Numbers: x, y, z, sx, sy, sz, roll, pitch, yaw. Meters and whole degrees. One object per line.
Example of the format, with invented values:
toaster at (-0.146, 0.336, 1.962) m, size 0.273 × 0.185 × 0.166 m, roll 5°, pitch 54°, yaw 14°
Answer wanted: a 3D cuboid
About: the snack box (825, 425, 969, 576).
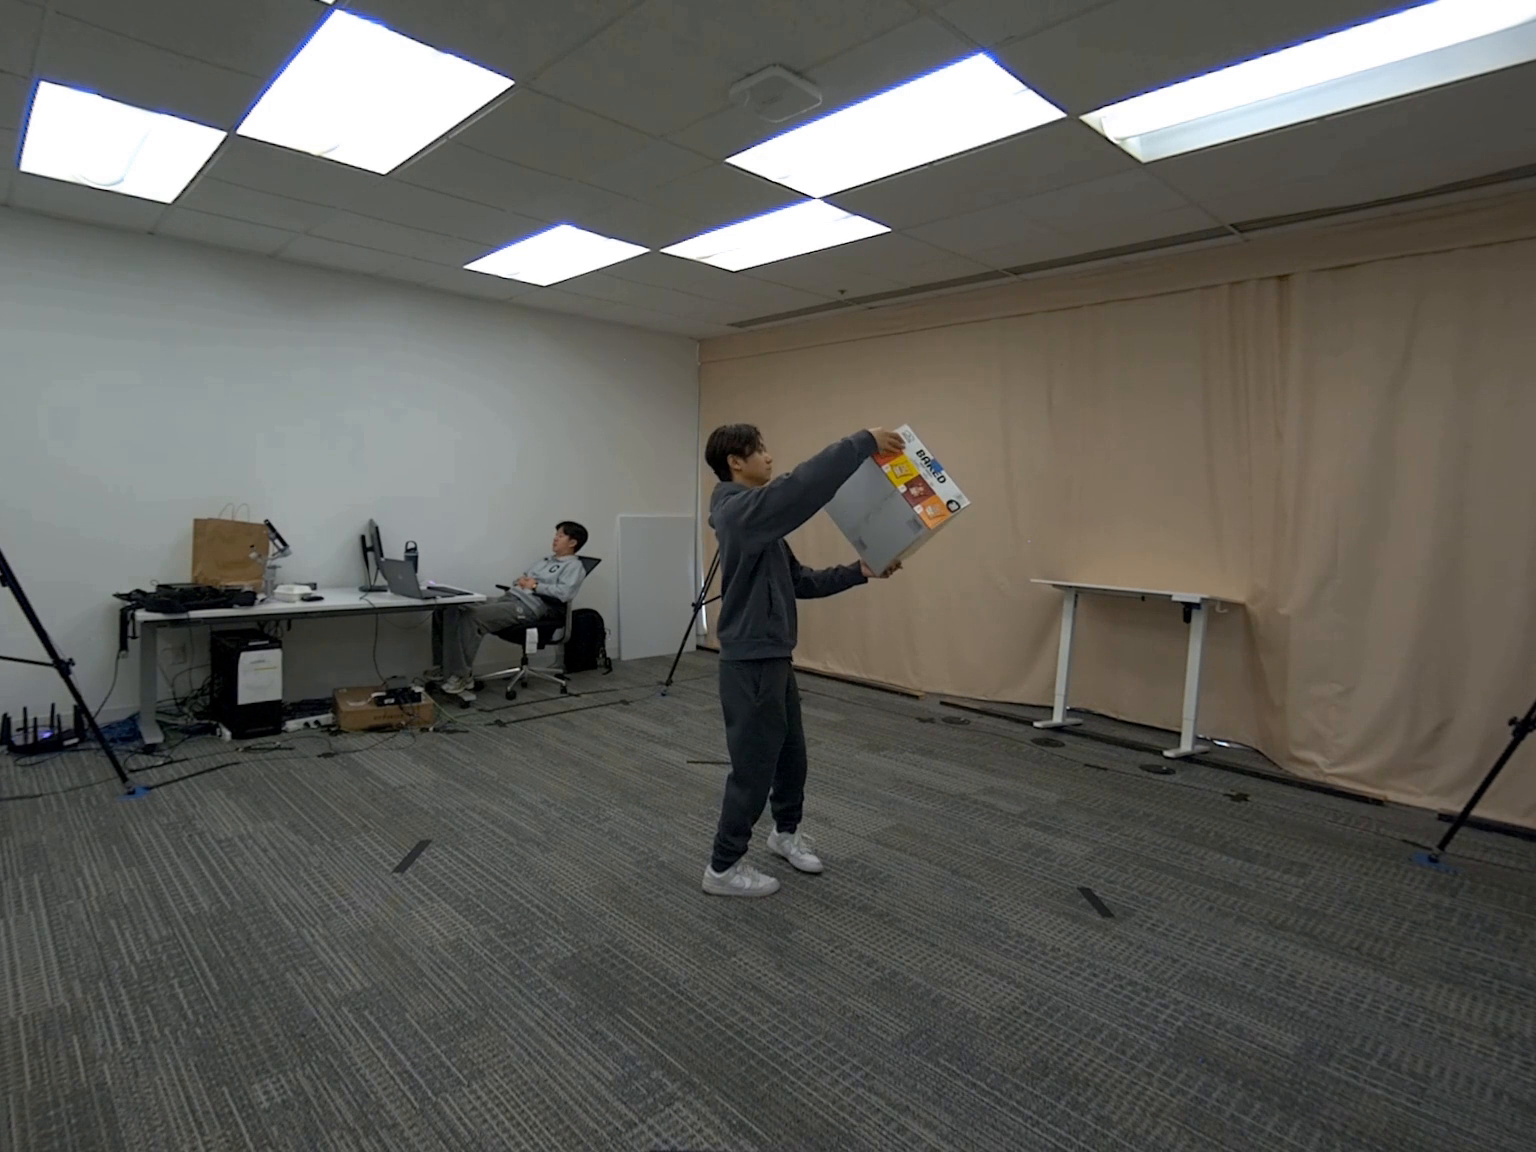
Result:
snack box at (0.417, -0.251, 2.898) m, size 0.204 × 0.345 × 0.403 m, roll -29°, pitch -13°, yaw -27°
